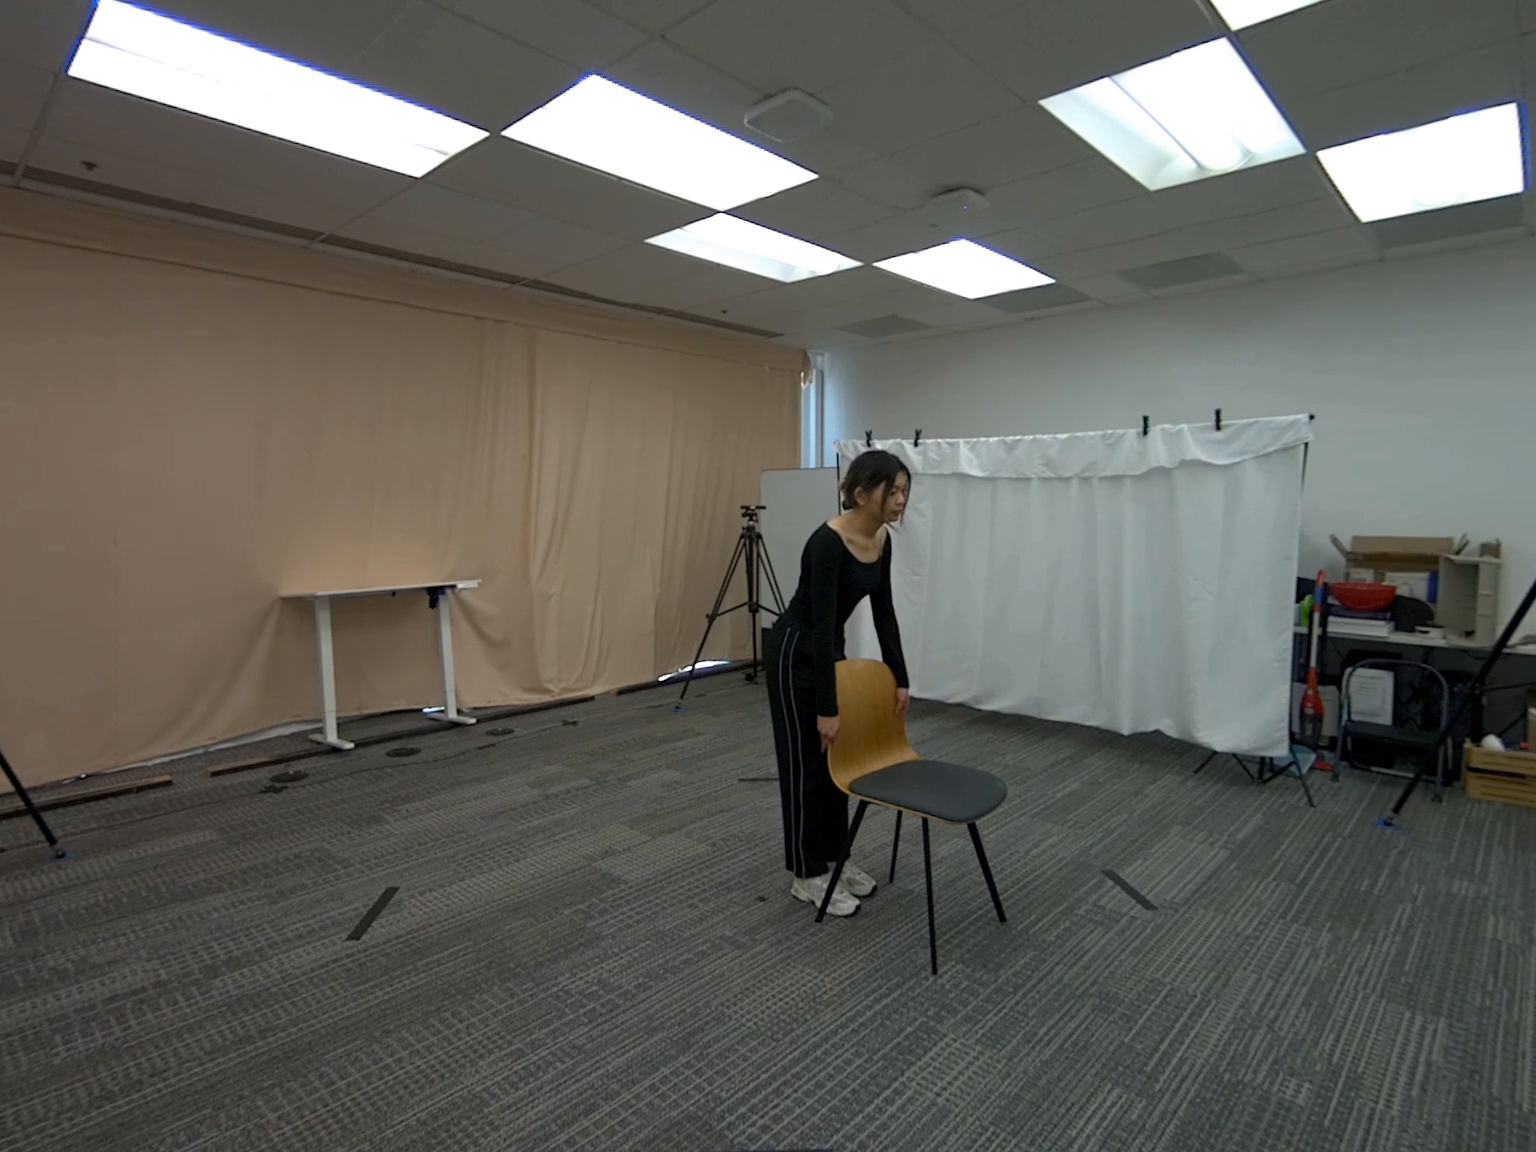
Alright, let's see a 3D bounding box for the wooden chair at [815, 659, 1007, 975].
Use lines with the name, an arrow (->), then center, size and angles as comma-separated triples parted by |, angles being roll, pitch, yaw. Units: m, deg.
wooden chair -> 0.488, 0.730, 2.776 | 0.539, 0.877, 0.463 | -4, 0, 44
